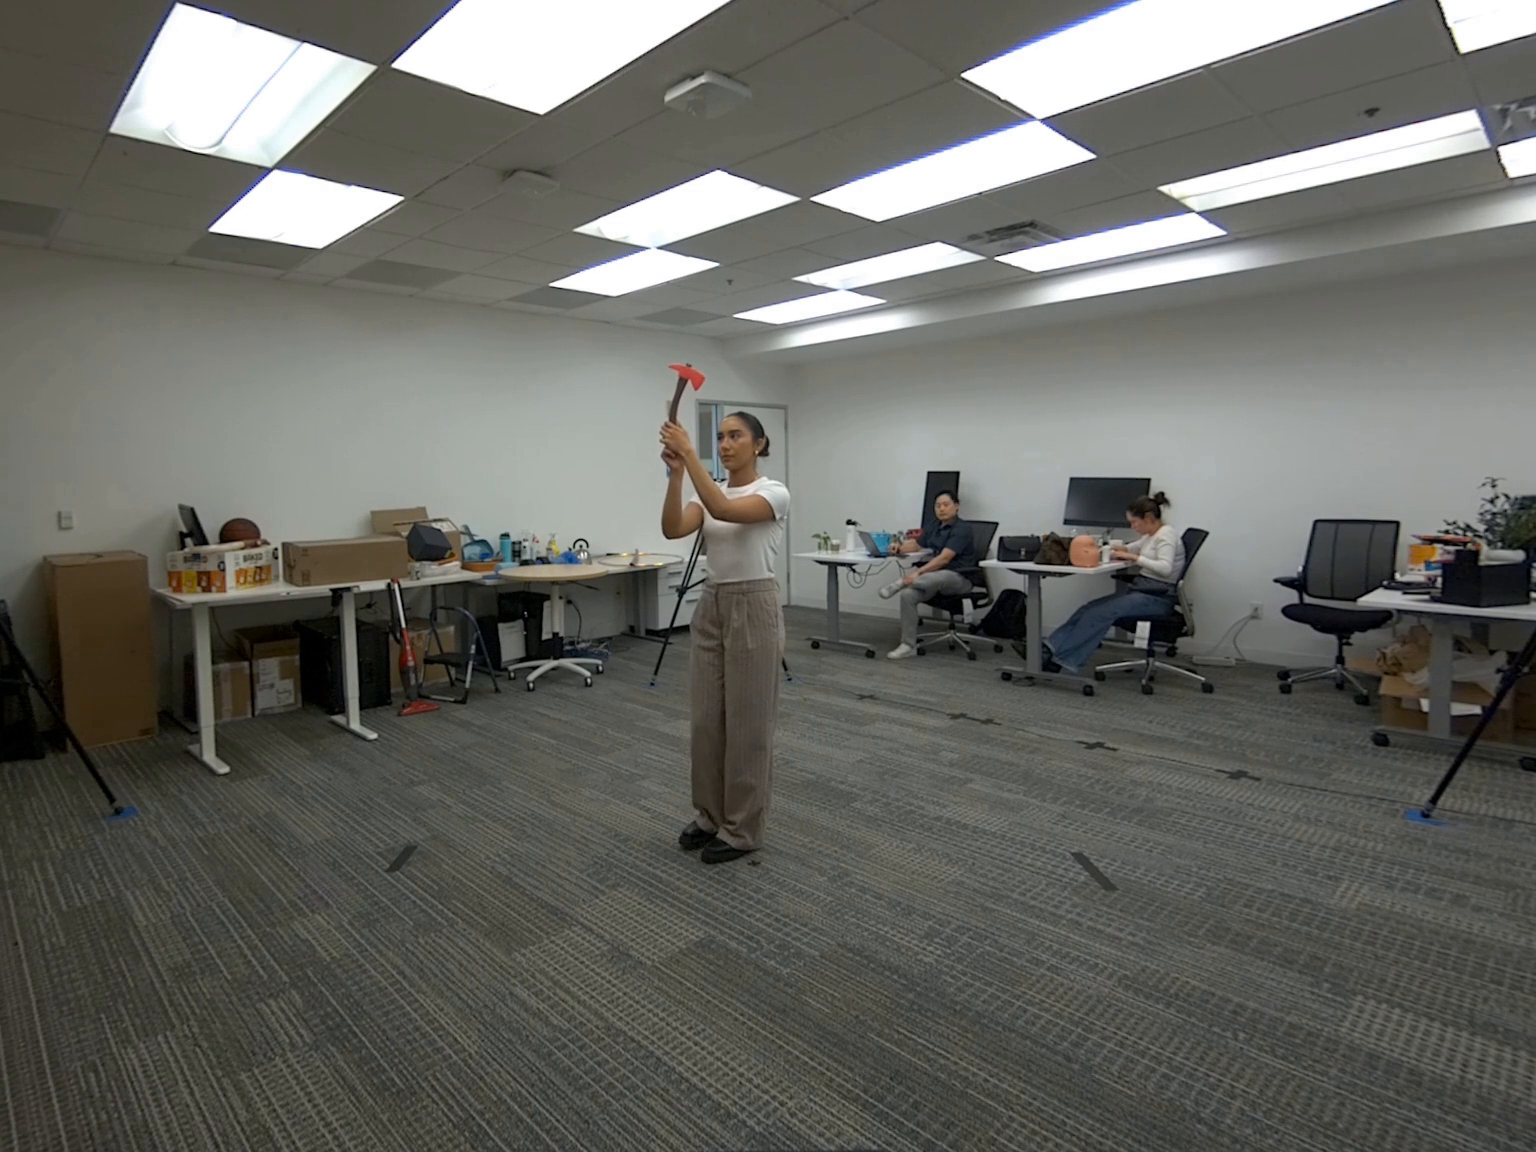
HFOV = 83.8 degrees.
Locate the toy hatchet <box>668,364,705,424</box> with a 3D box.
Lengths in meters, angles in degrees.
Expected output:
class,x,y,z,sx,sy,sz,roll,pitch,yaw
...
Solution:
class,x,y,z,sx,sy,sz,roll,pitch,yaw
toy hatchet,-0.284,-0.607,2.971,0.131,0.268,0.030,2,6,1
